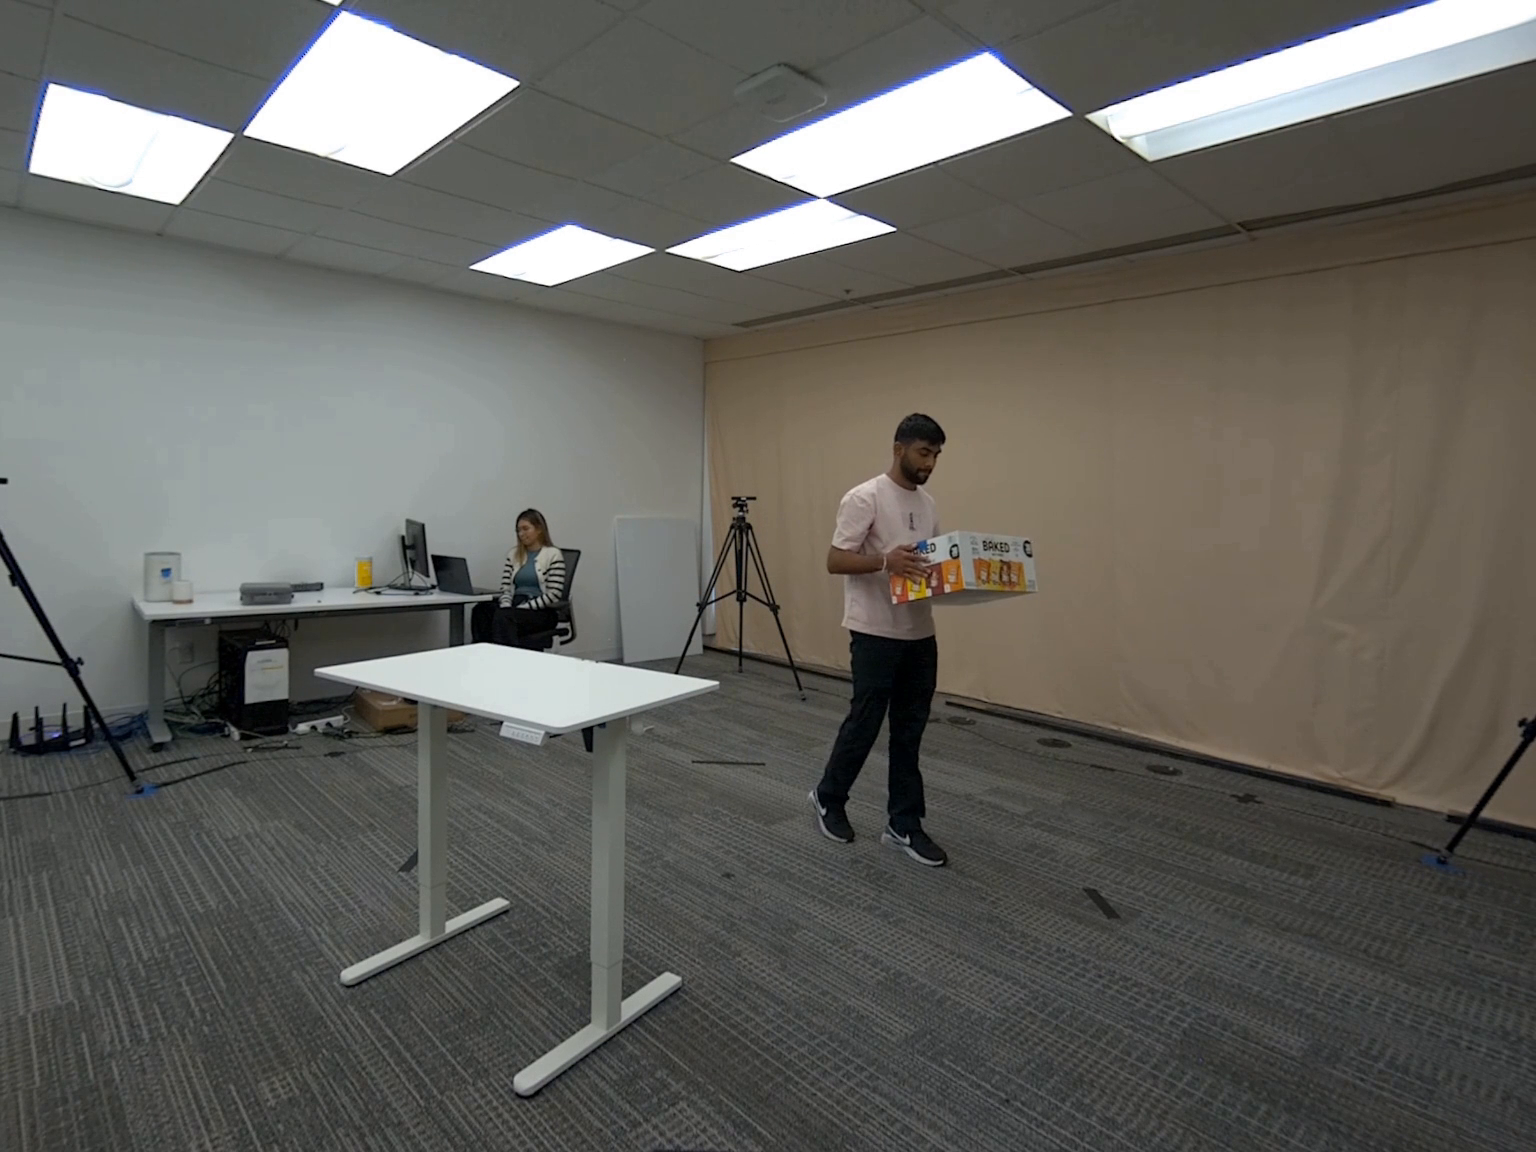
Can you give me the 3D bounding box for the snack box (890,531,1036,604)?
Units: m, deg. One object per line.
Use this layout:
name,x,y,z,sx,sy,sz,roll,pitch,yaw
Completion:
snack box,0.699,-0.016,3.081,0.395,0.207,0.345,3,-12,-36
